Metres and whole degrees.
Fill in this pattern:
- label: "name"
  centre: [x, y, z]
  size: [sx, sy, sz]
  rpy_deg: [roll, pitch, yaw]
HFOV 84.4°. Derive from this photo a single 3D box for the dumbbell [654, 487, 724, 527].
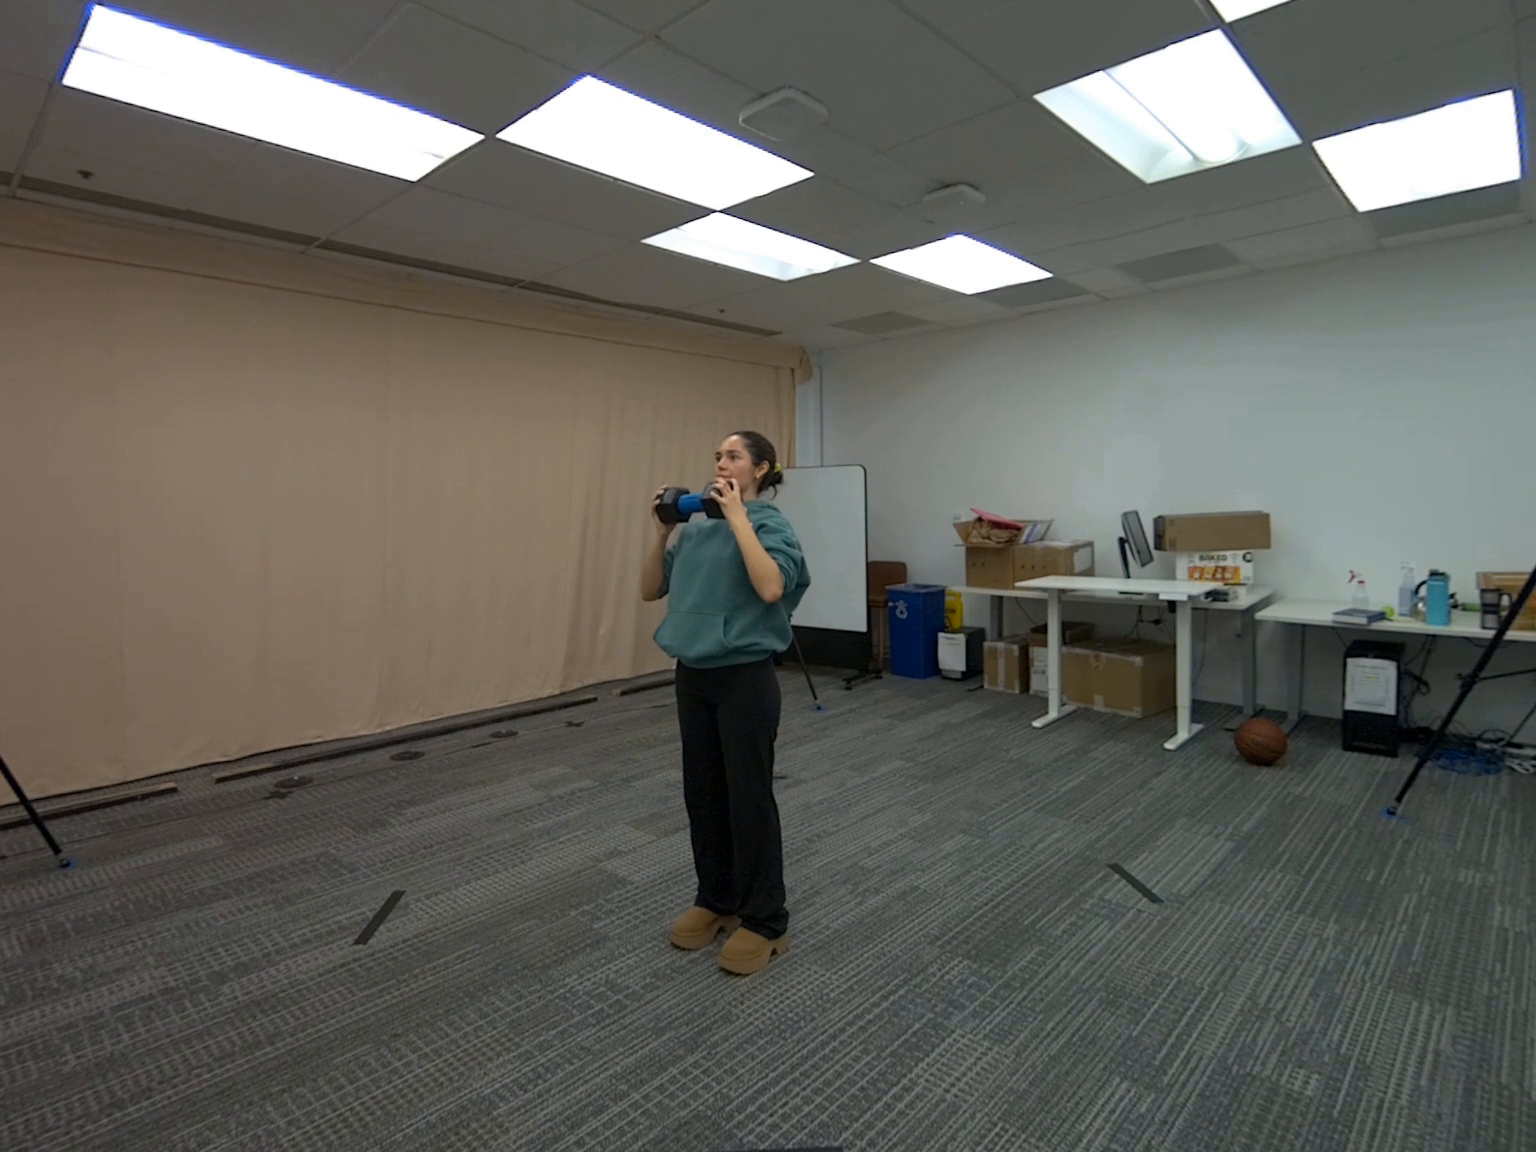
- label: "dumbbell"
  centre: [-0.202, -0.227, 2.556]
  size: [0.303, 0.121, 0.107]
  rpy_deg: [-2, 26, 44]
